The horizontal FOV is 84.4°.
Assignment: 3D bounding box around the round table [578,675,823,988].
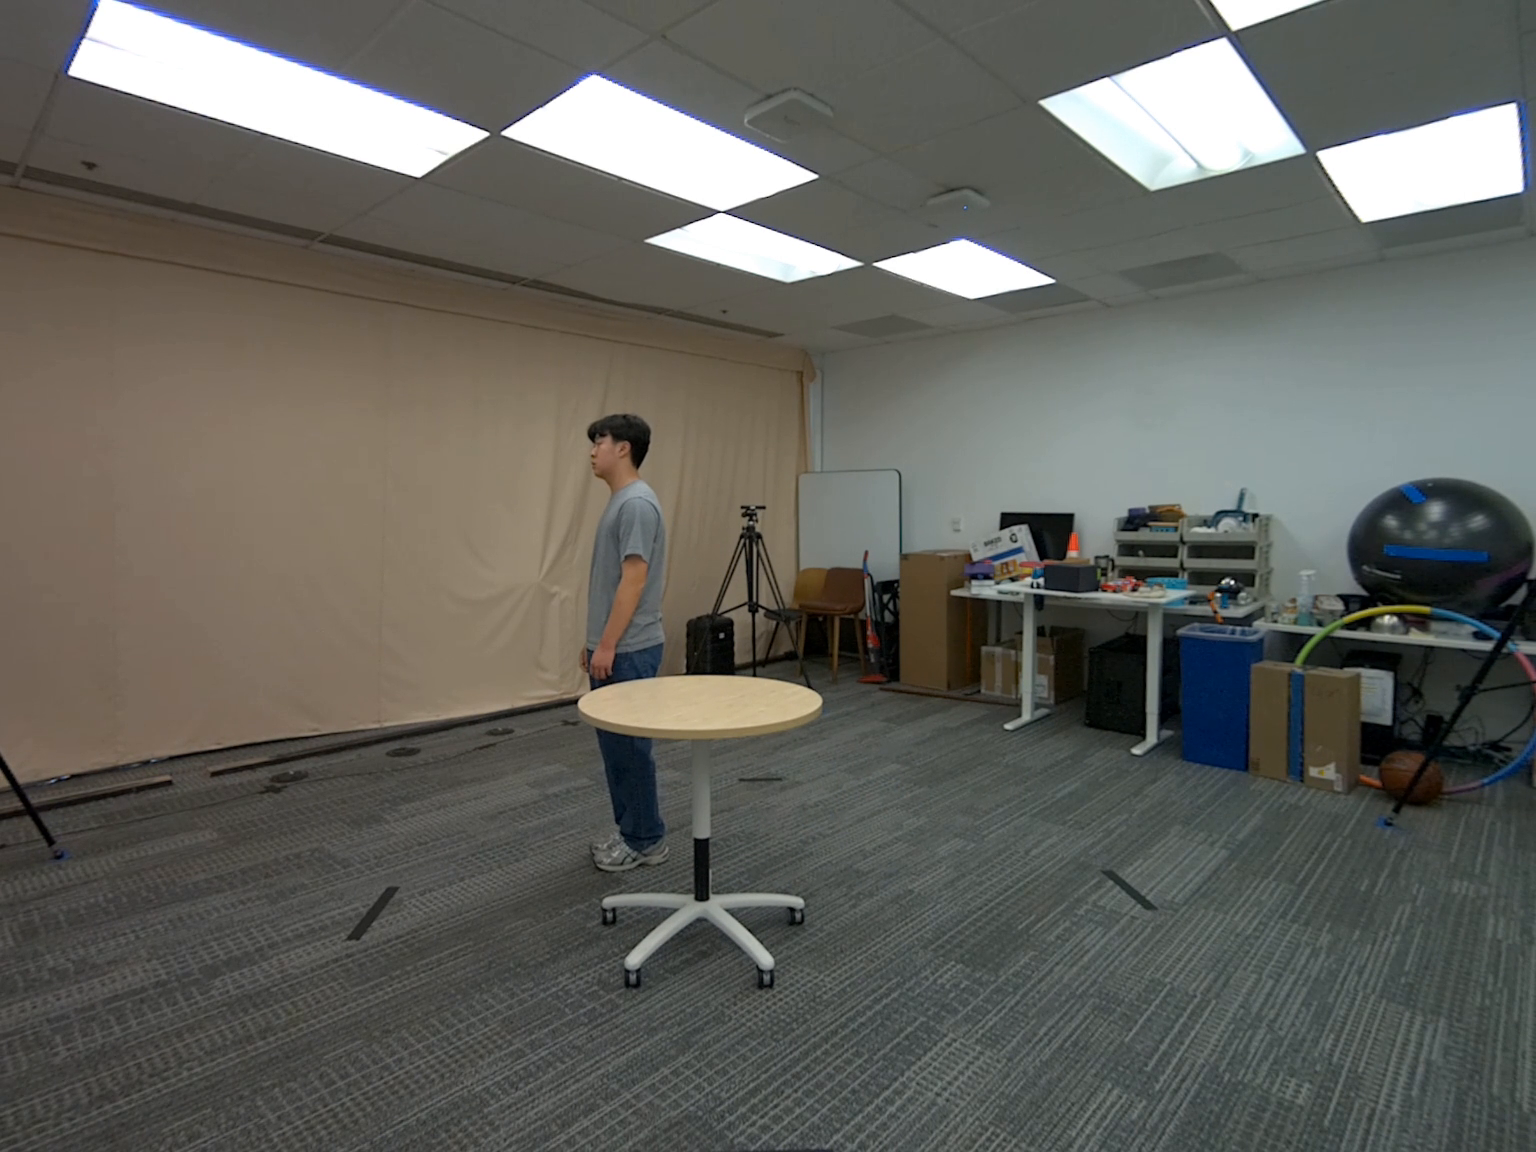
[{"bbox_3d":[-0.206,0.782,2.679,0.763,0.792,0.767,0,4,-2],"label":"round table"}]
